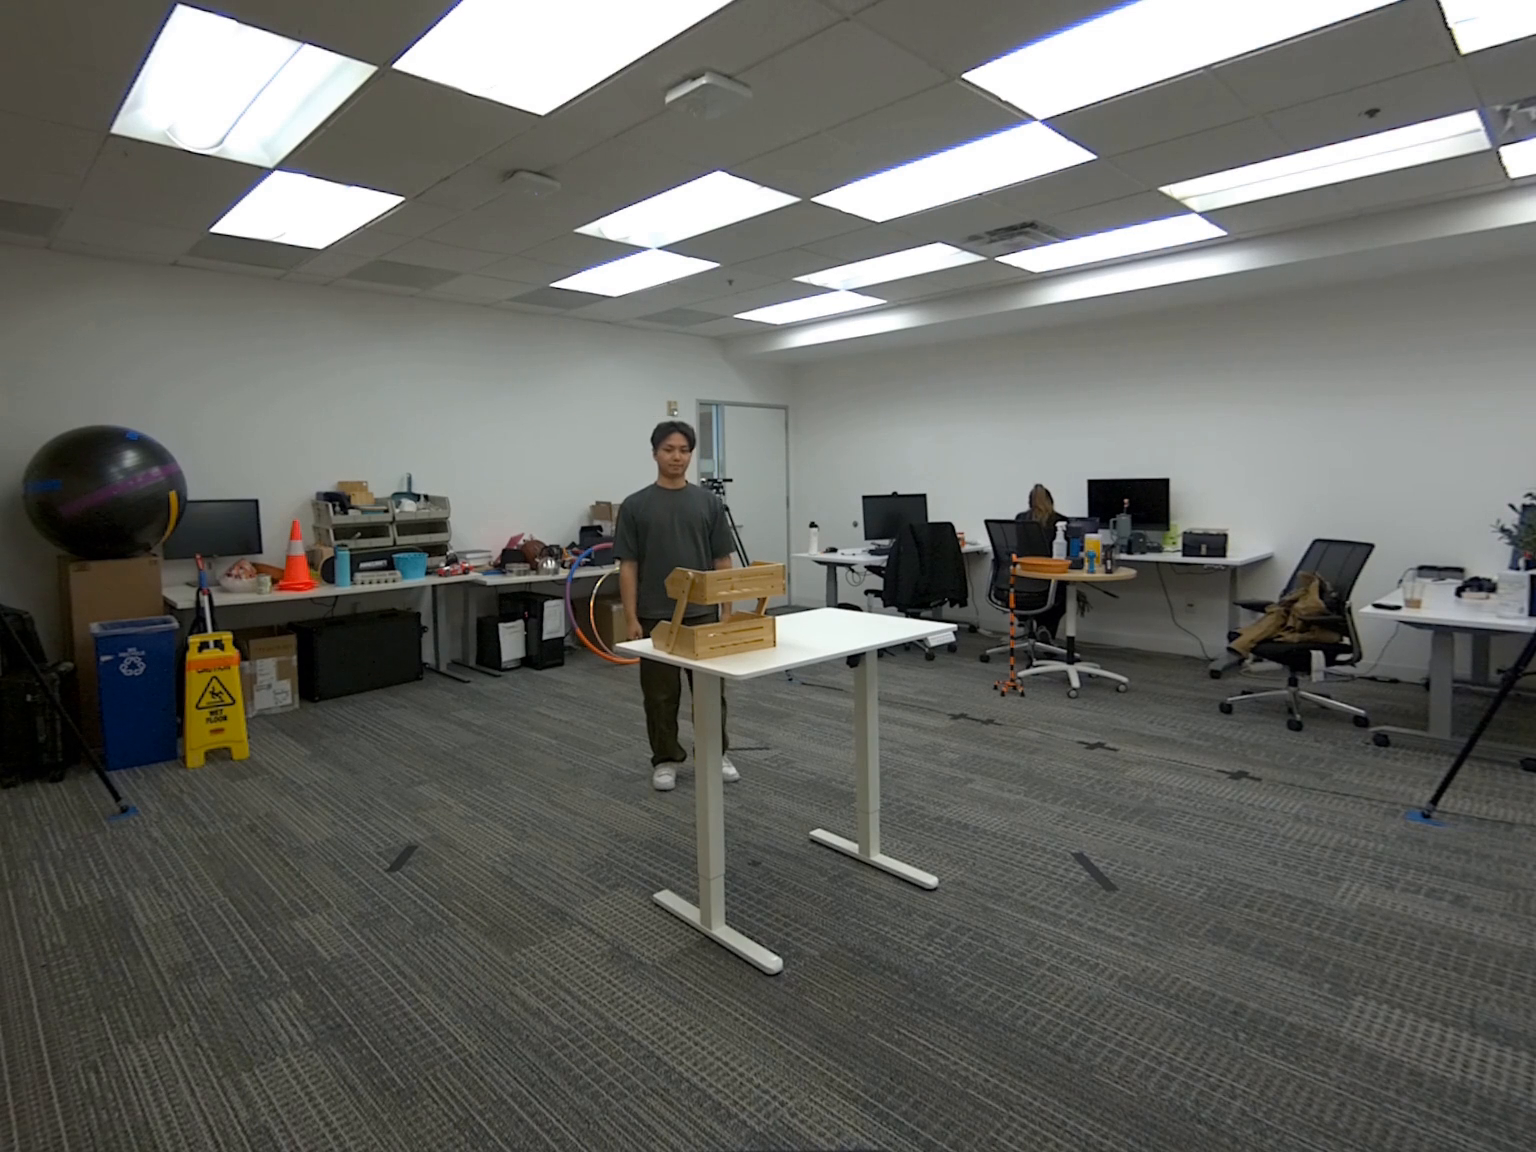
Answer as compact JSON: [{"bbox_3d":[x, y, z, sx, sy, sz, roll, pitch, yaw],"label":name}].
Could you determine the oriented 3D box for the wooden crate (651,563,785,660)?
[{"bbox_3d":[-0.150,0.094,2.602,0.316,0.272,0.311,-5,7,-37],"label":"wooden crate"}]
